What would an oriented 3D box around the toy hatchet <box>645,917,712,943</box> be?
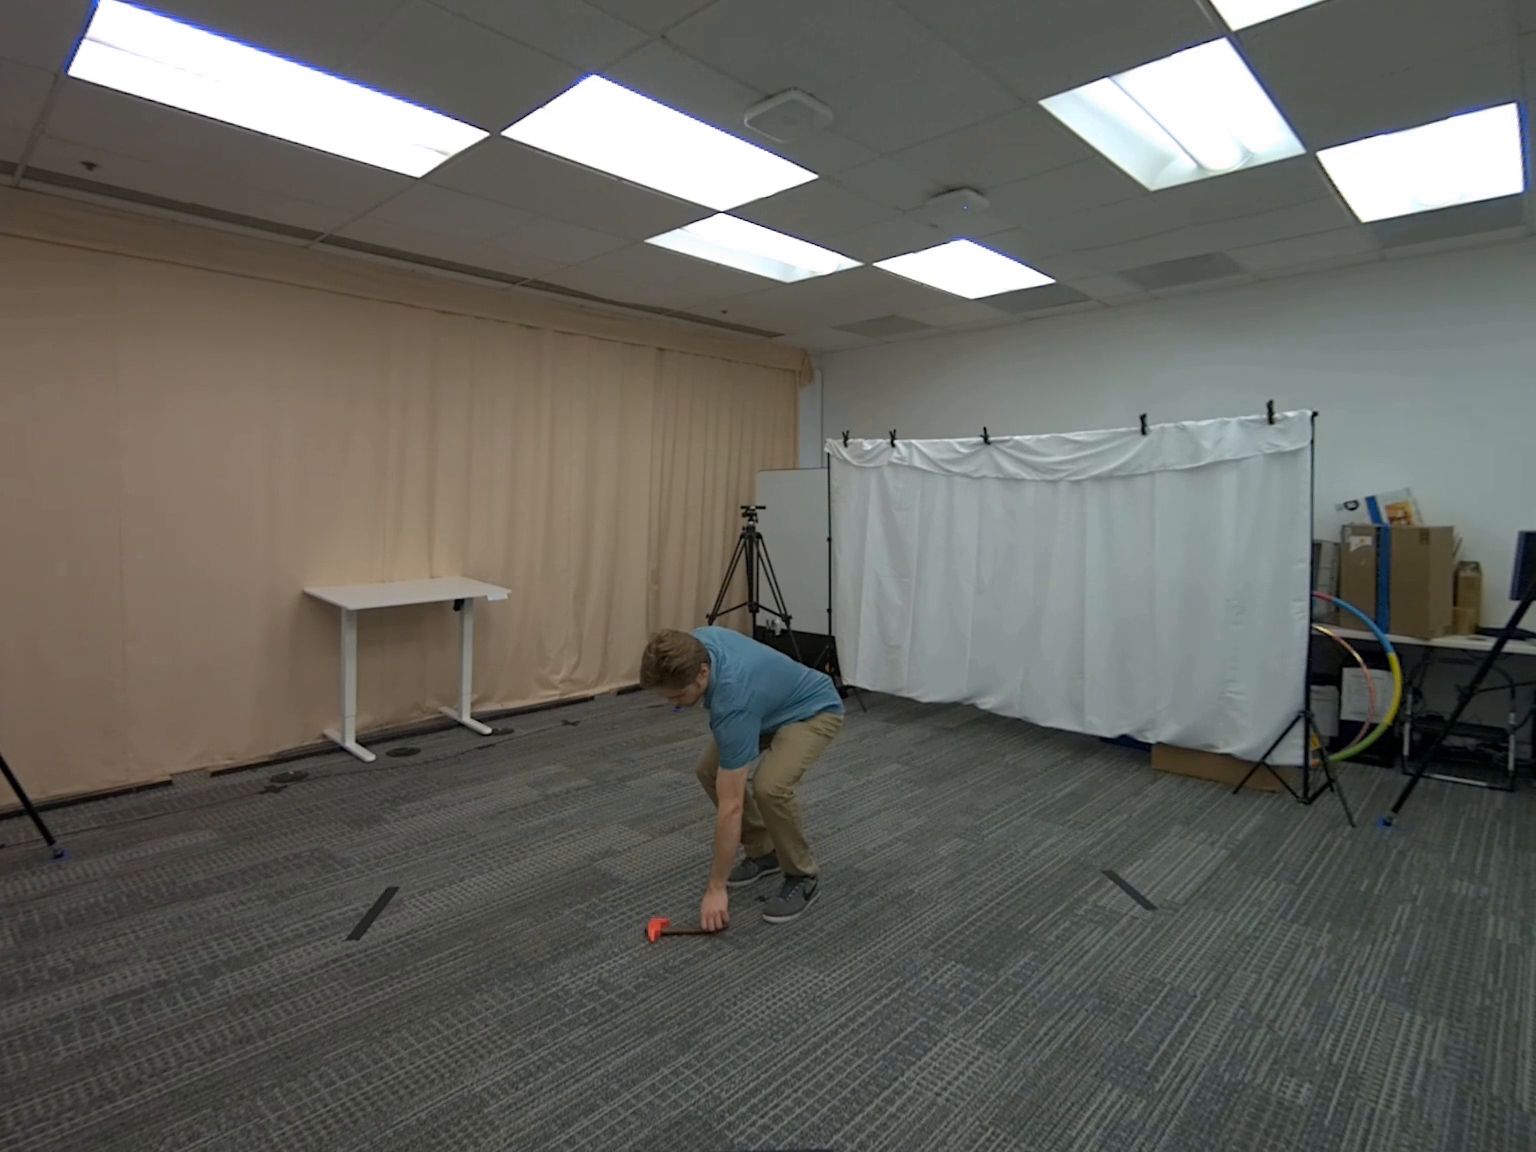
[{"bbox_3d":[-0.275,1.156,2.781,0.264,0.029,0.134,0,4,-21],"label":"toy hatchet"}]
